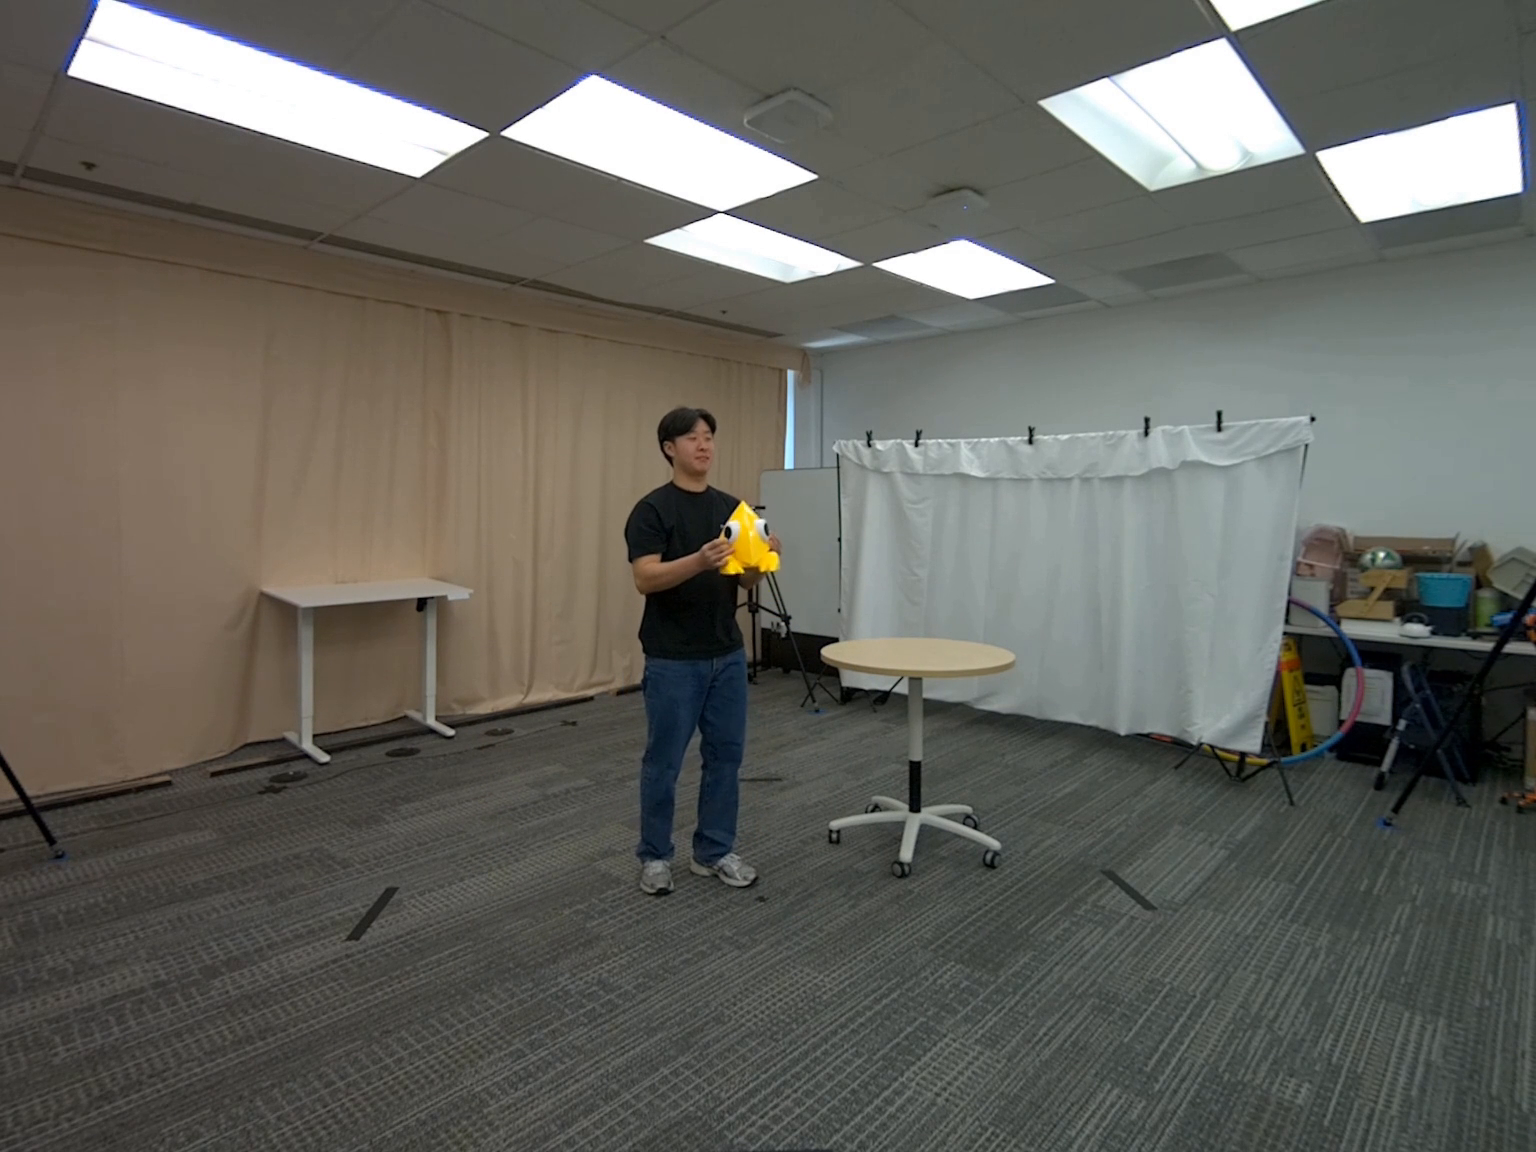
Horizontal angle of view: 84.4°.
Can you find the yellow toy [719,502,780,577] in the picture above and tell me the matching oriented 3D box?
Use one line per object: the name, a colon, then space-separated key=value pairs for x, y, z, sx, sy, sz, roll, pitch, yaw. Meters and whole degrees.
yellow toy: x=-0.065 y=-0.130 z=2.786 sx=0.204 sy=0.230 sz=0.195 roll=-4 pitch=5 yaw=-6
